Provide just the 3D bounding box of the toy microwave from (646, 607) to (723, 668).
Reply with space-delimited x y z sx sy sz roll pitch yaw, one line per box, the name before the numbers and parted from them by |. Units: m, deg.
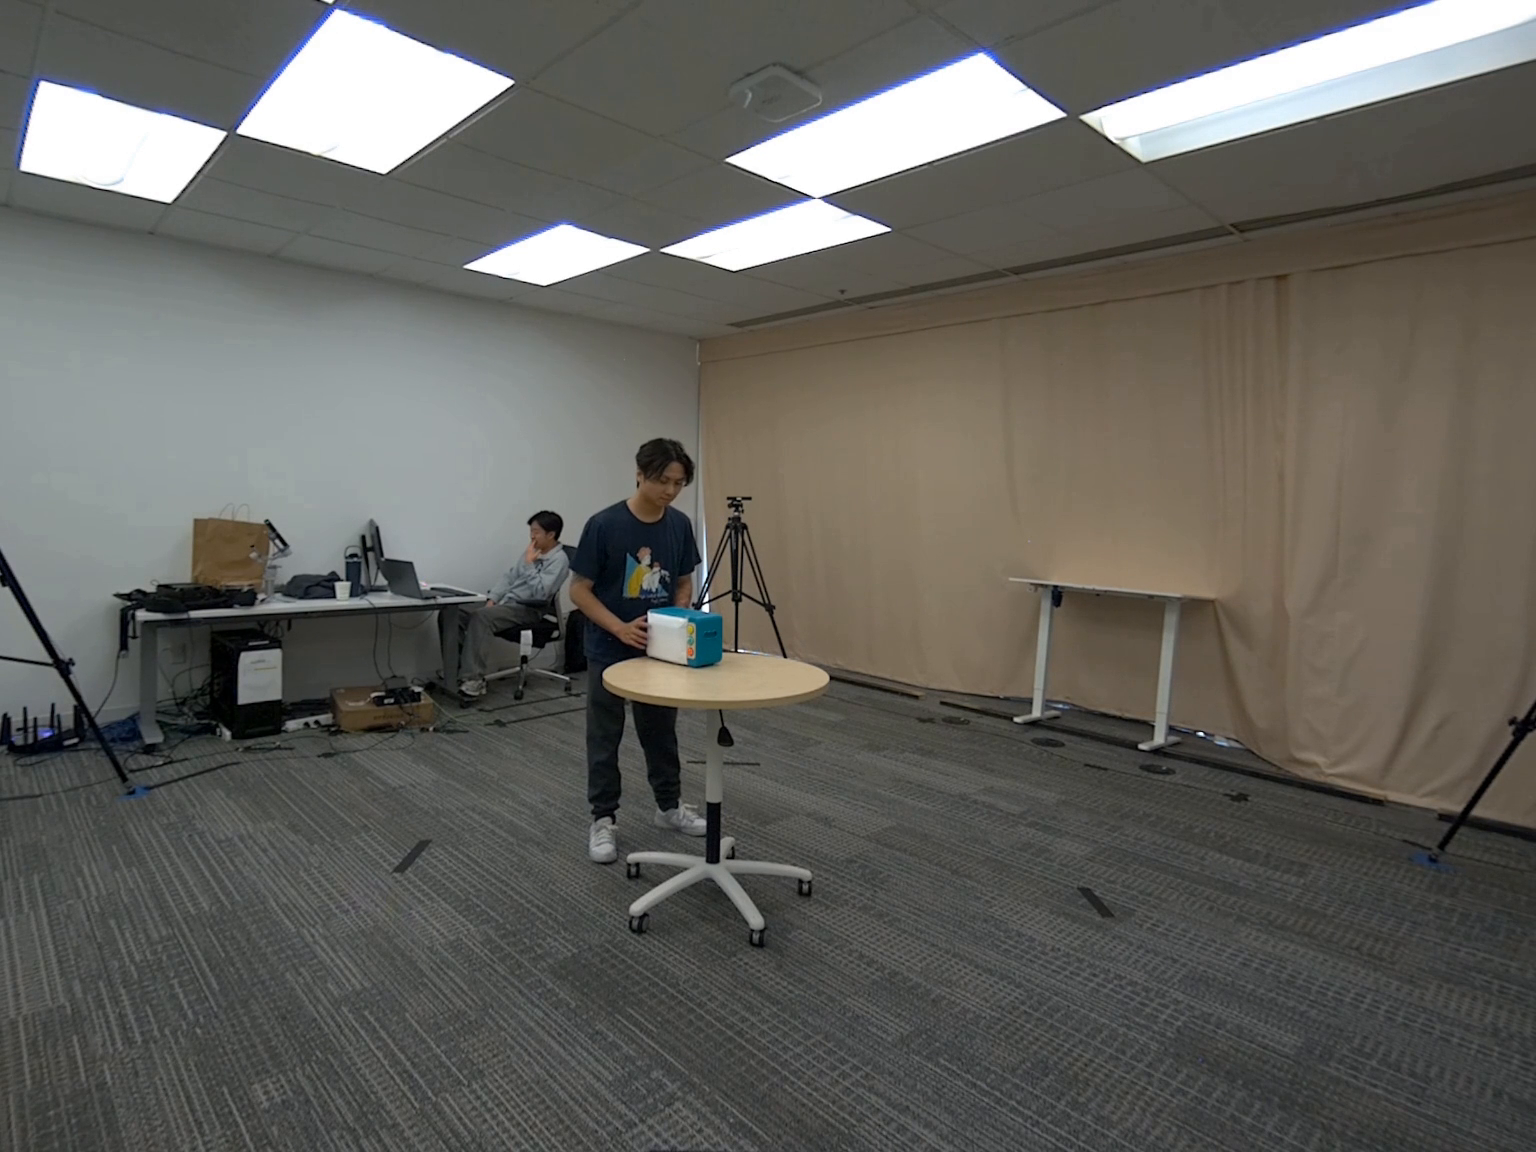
toy microwave | -0.318 0.224 3.038 0.293 0.183 0.149 5 6 41
